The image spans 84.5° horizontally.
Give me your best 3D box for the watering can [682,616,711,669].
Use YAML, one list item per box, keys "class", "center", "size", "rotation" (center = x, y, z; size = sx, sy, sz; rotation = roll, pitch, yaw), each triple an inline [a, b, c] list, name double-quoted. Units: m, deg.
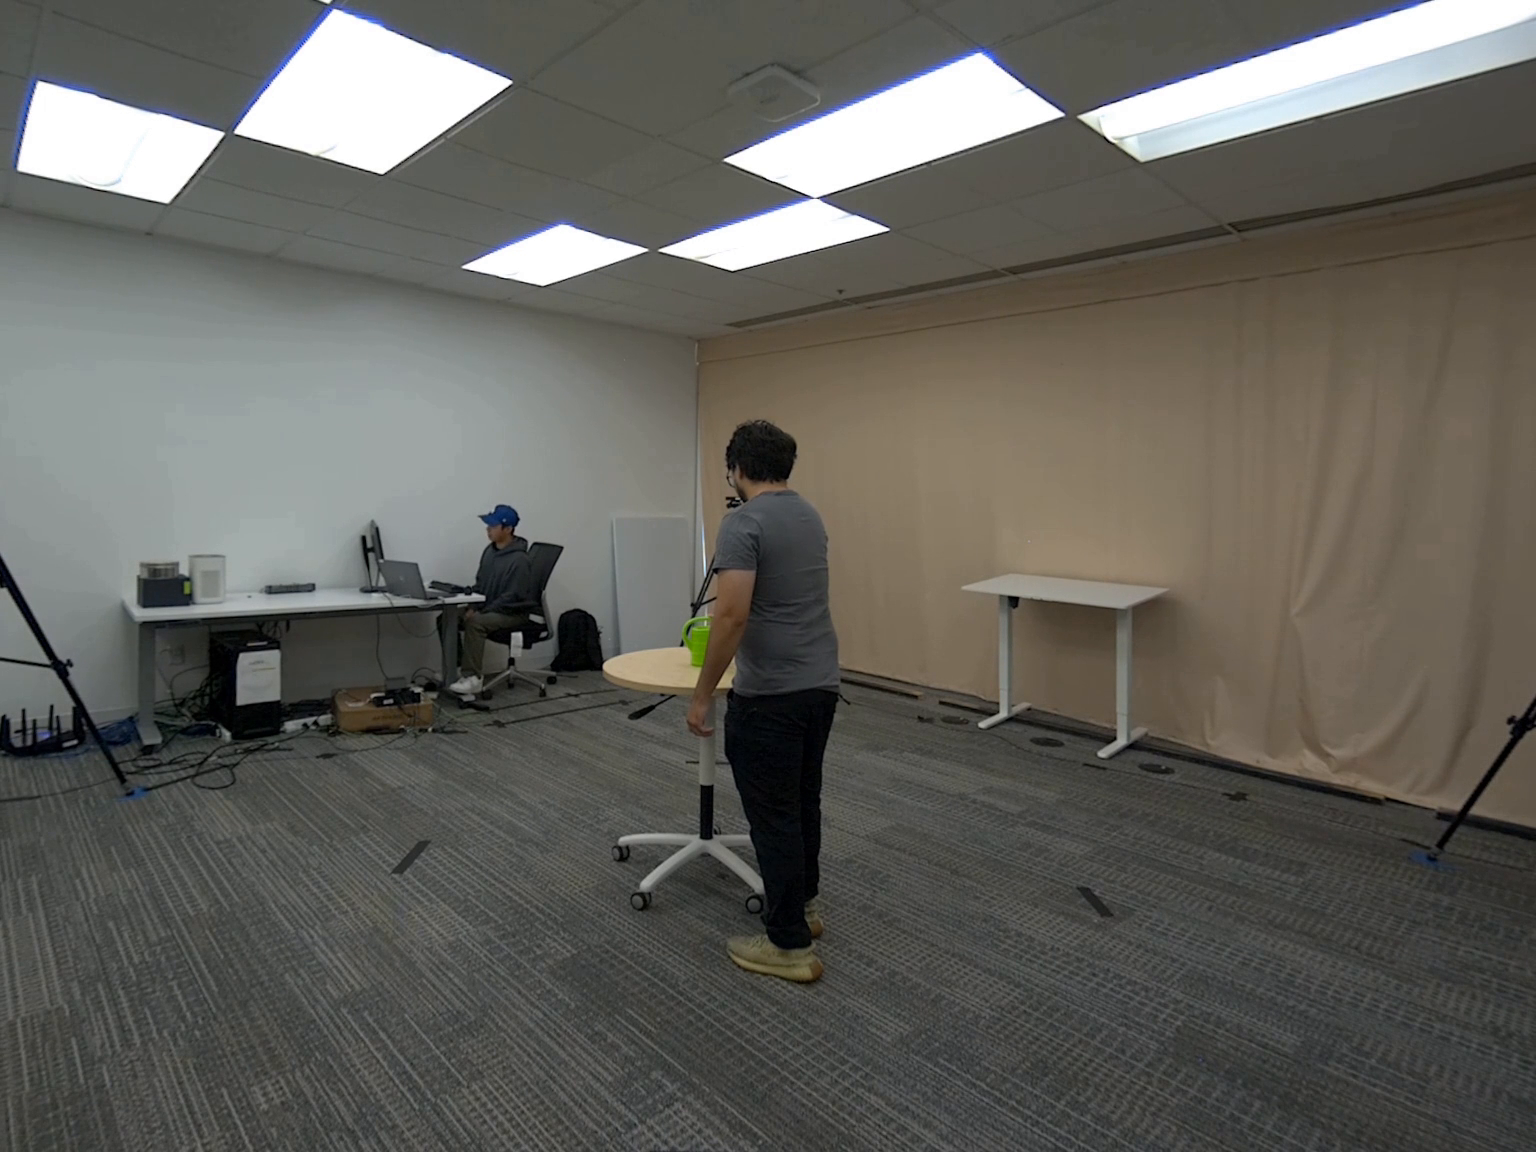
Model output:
- class: "watering can"
  center: [-0.180, 0.241, 3.064]
  size: [0.279, 0.176, 0.098]
  rotation: [-2, 3, 3]
